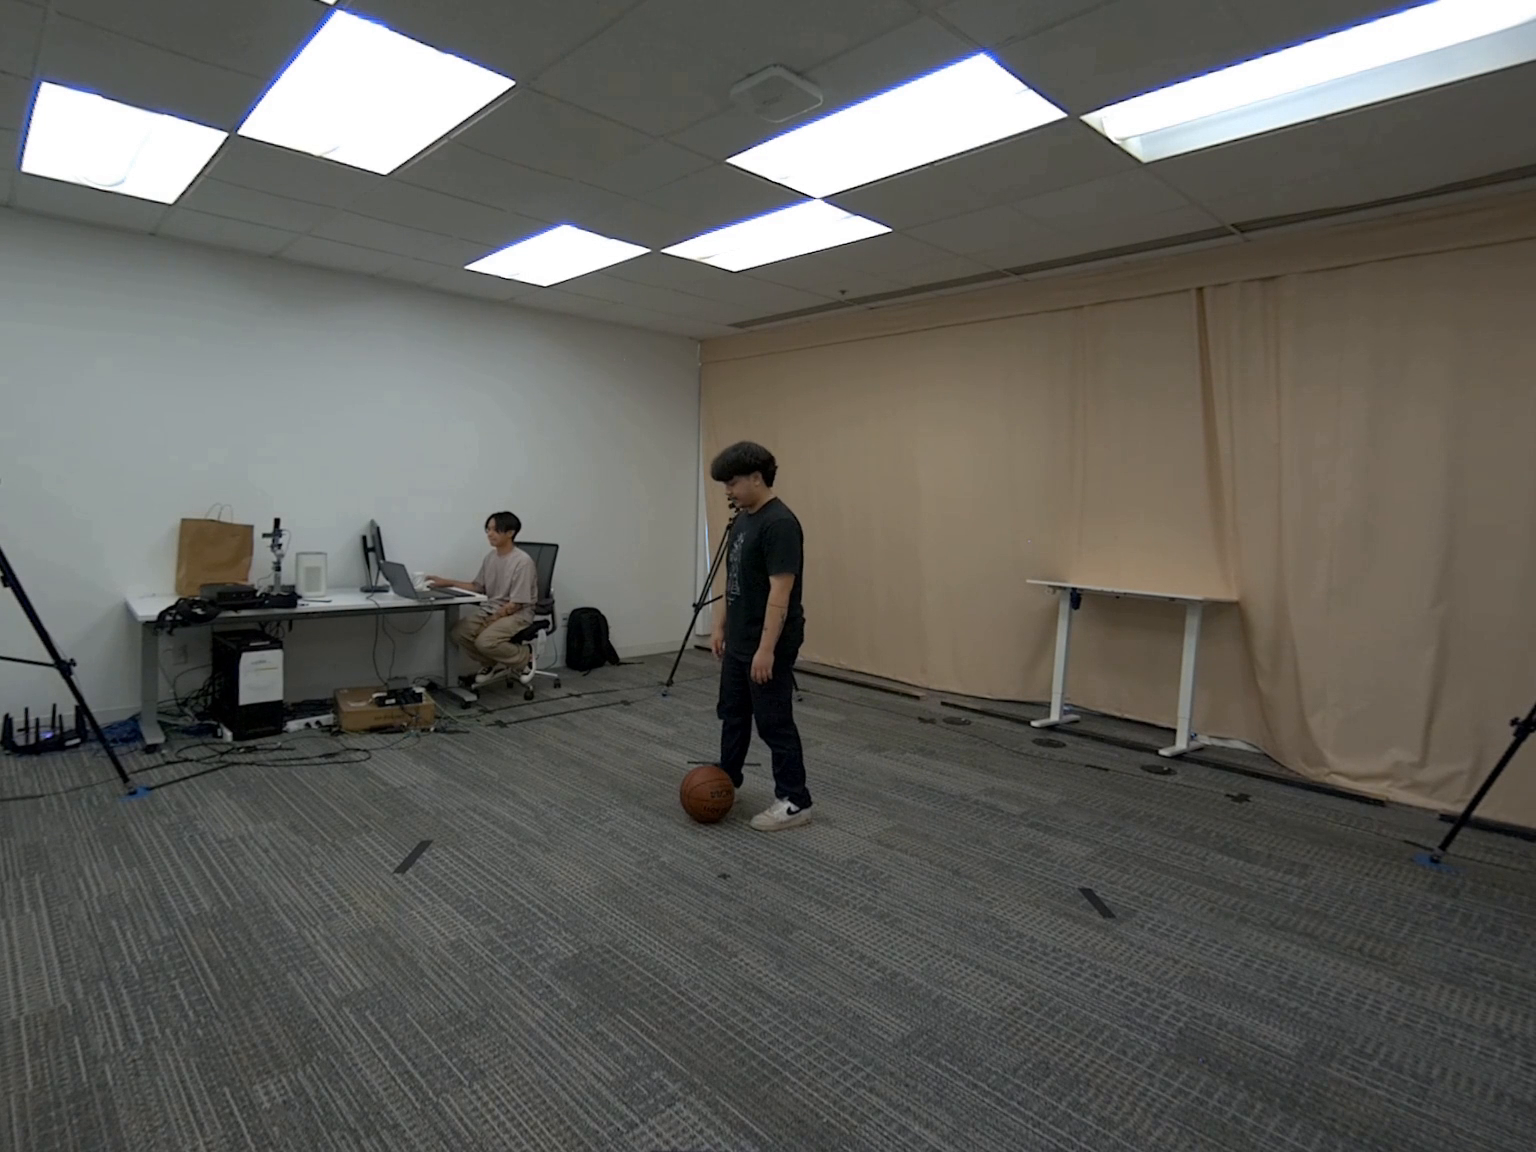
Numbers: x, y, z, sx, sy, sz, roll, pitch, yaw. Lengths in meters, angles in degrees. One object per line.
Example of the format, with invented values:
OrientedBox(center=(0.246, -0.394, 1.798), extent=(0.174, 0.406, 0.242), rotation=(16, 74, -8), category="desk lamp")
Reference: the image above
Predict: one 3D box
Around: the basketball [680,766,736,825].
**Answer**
OrientedBox(center=(-0.267, 0.937, 3.633), extent=(0.236, 0.235, 0.237), rotation=(1, 4, -1), category="basketball")
